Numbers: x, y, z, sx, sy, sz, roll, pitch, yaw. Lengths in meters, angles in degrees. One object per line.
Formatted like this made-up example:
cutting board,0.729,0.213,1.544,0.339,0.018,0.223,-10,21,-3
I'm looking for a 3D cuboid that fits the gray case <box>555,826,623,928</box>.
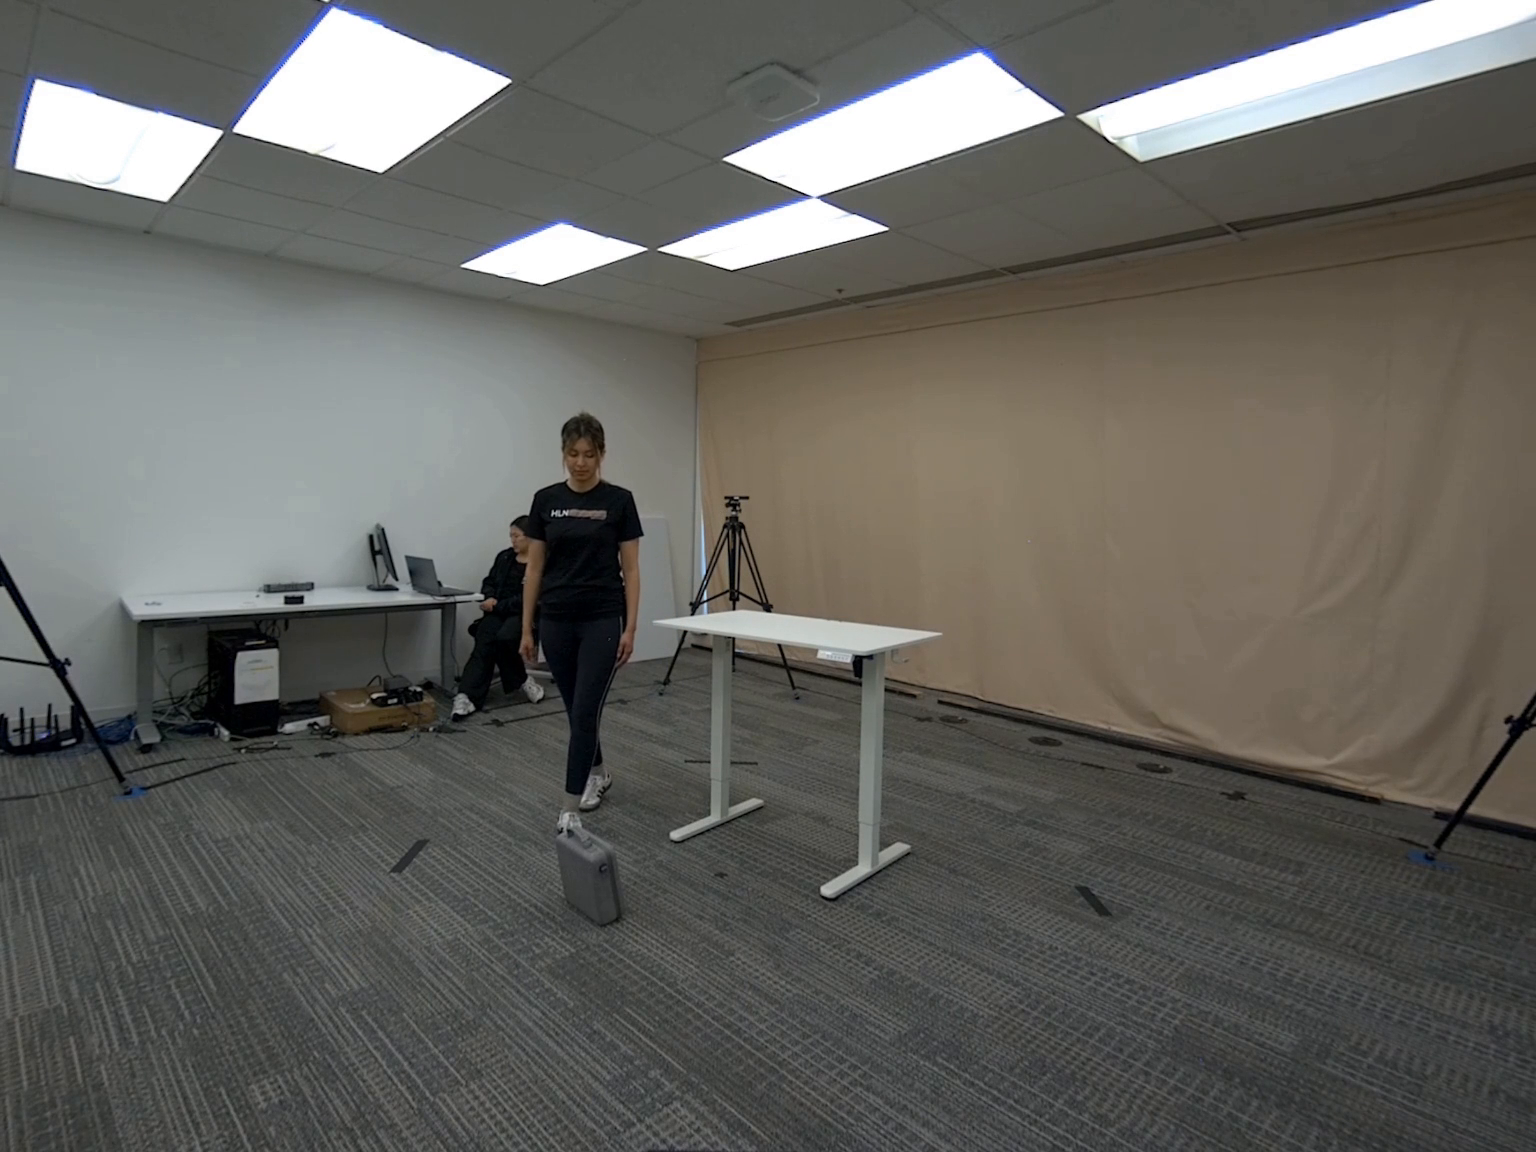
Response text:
gray case,-0.600,0.992,2.796,0.102,0.258,0.263,-14,13,-39
